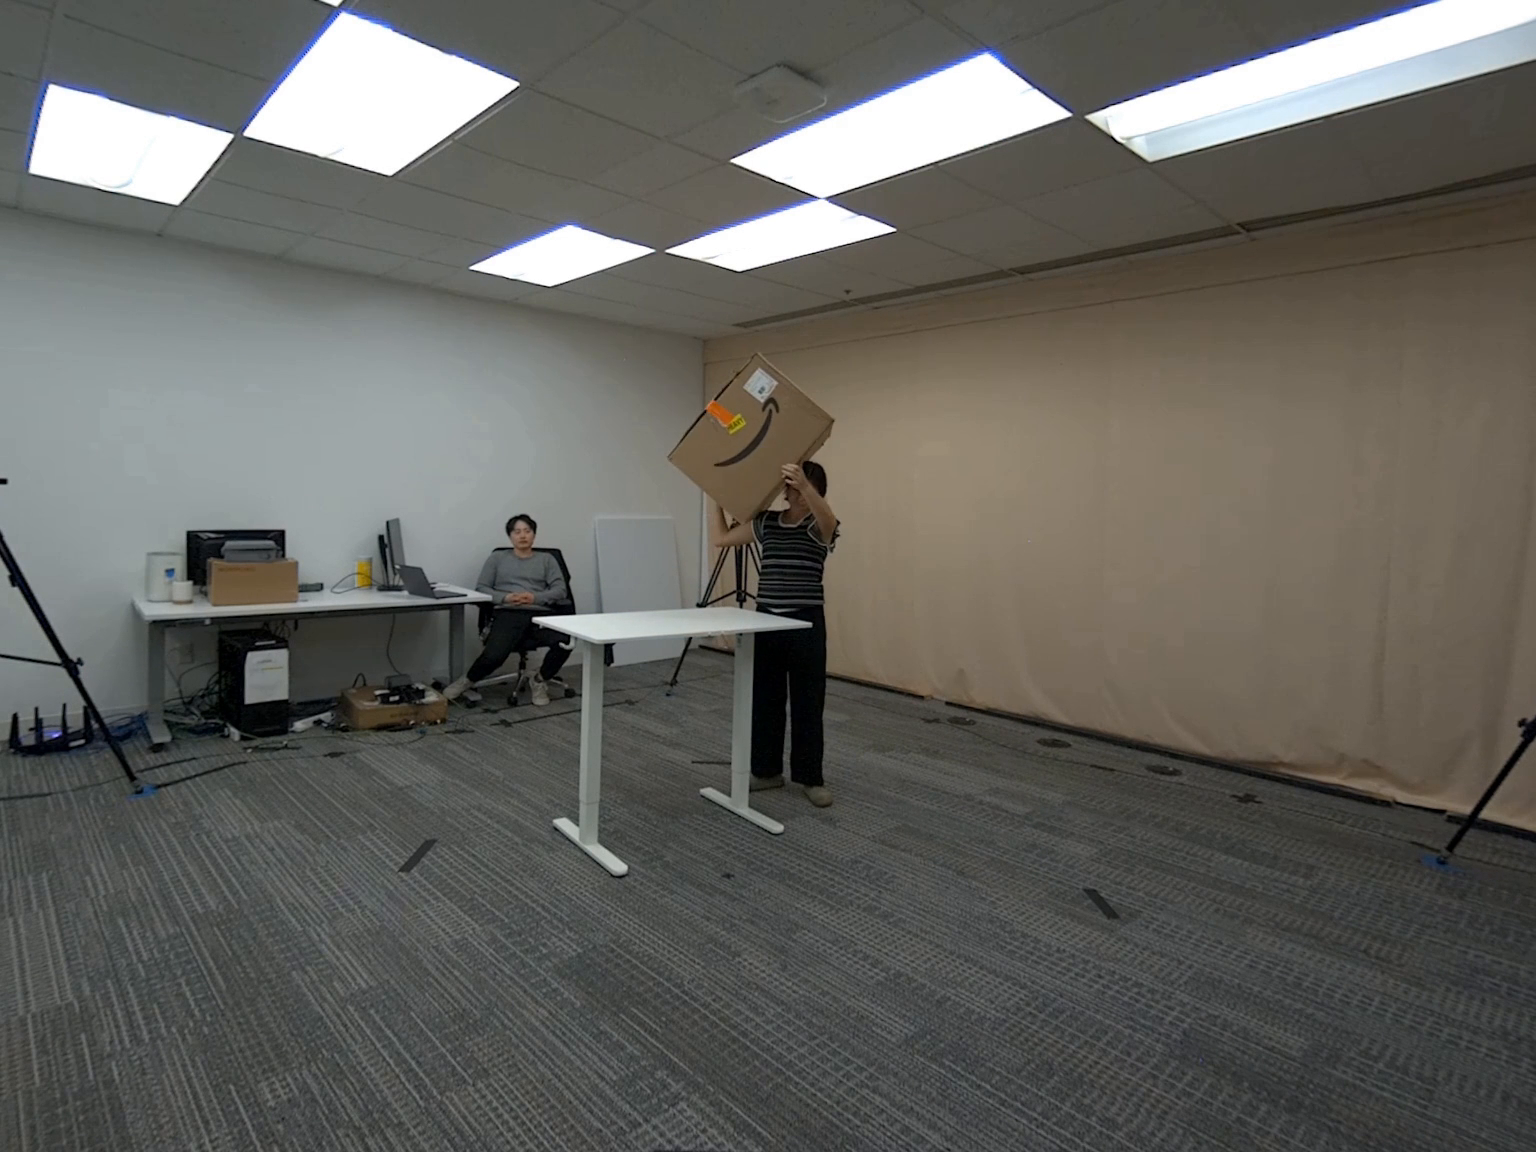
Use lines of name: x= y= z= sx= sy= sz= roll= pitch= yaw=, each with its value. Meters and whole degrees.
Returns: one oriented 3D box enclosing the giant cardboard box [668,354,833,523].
giant cardboard box: x=-0.055 y=-0.611 z=3.938 sx=0.426 sy=0.577 sz=1.025 roll=41 pitch=6 yaw=-1
